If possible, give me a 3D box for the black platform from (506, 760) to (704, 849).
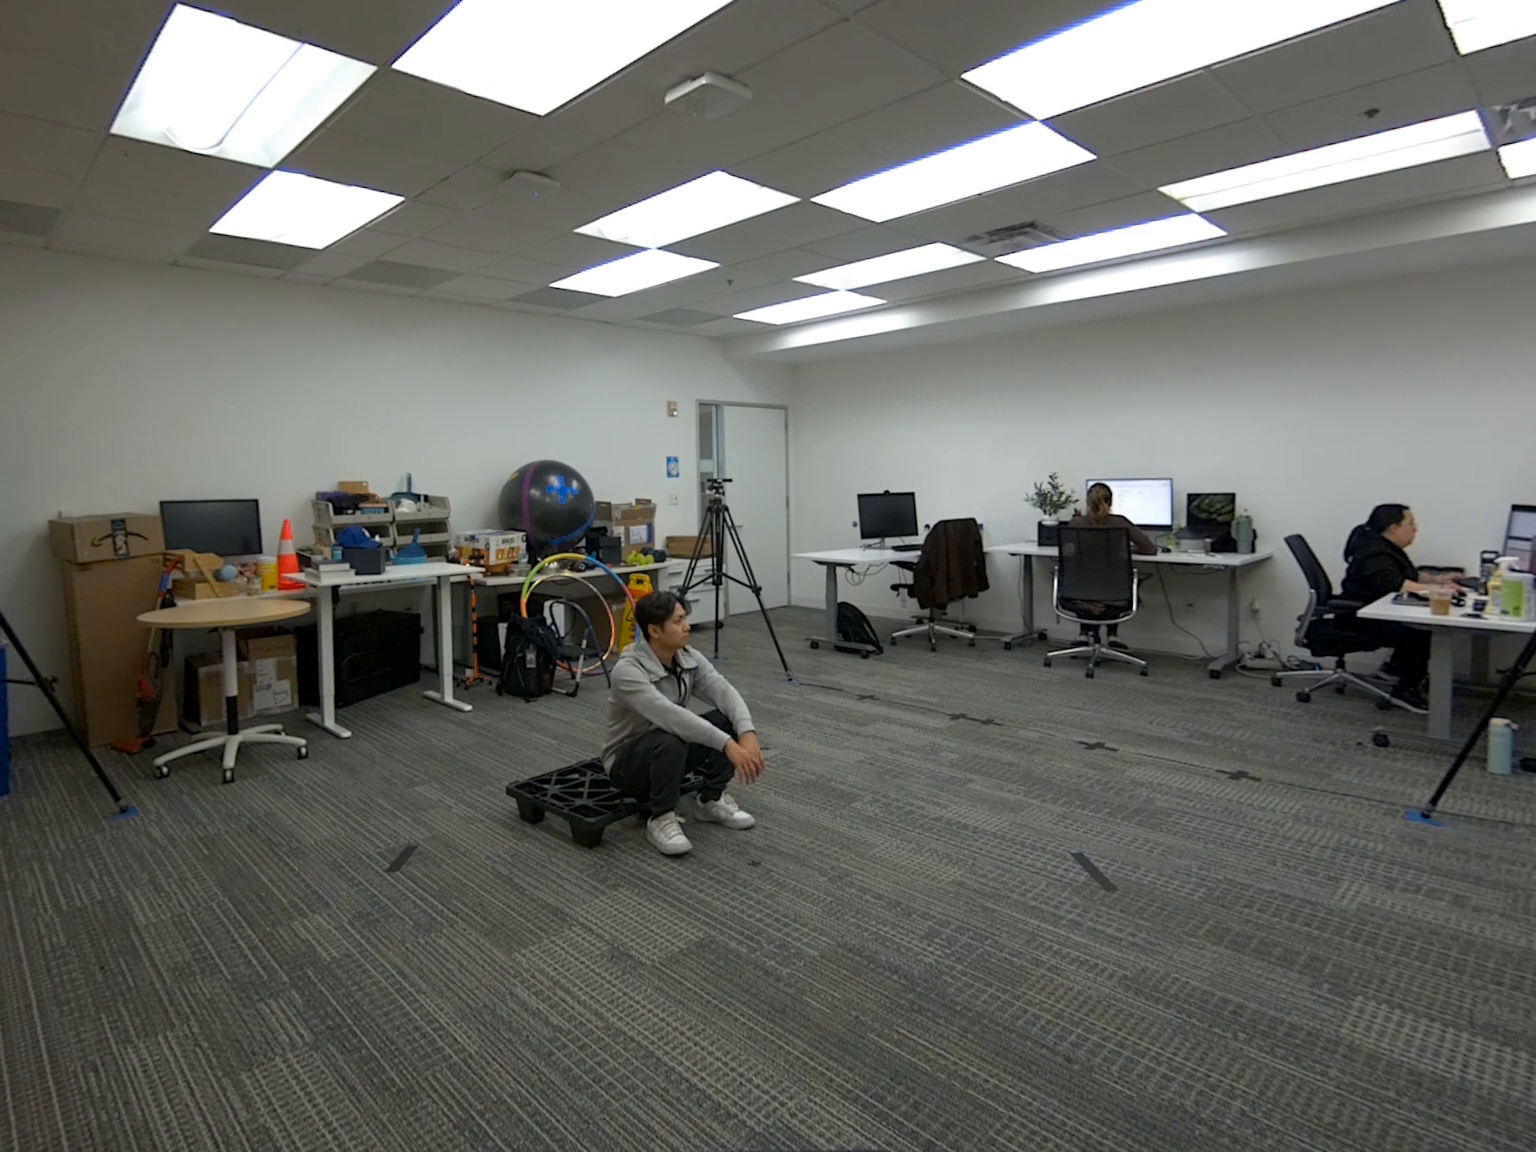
[{"bbox_3d":[-0.615,0.924,3.671,0.624,0.142,0.785,5,8,41],"label":"black platform"}]
